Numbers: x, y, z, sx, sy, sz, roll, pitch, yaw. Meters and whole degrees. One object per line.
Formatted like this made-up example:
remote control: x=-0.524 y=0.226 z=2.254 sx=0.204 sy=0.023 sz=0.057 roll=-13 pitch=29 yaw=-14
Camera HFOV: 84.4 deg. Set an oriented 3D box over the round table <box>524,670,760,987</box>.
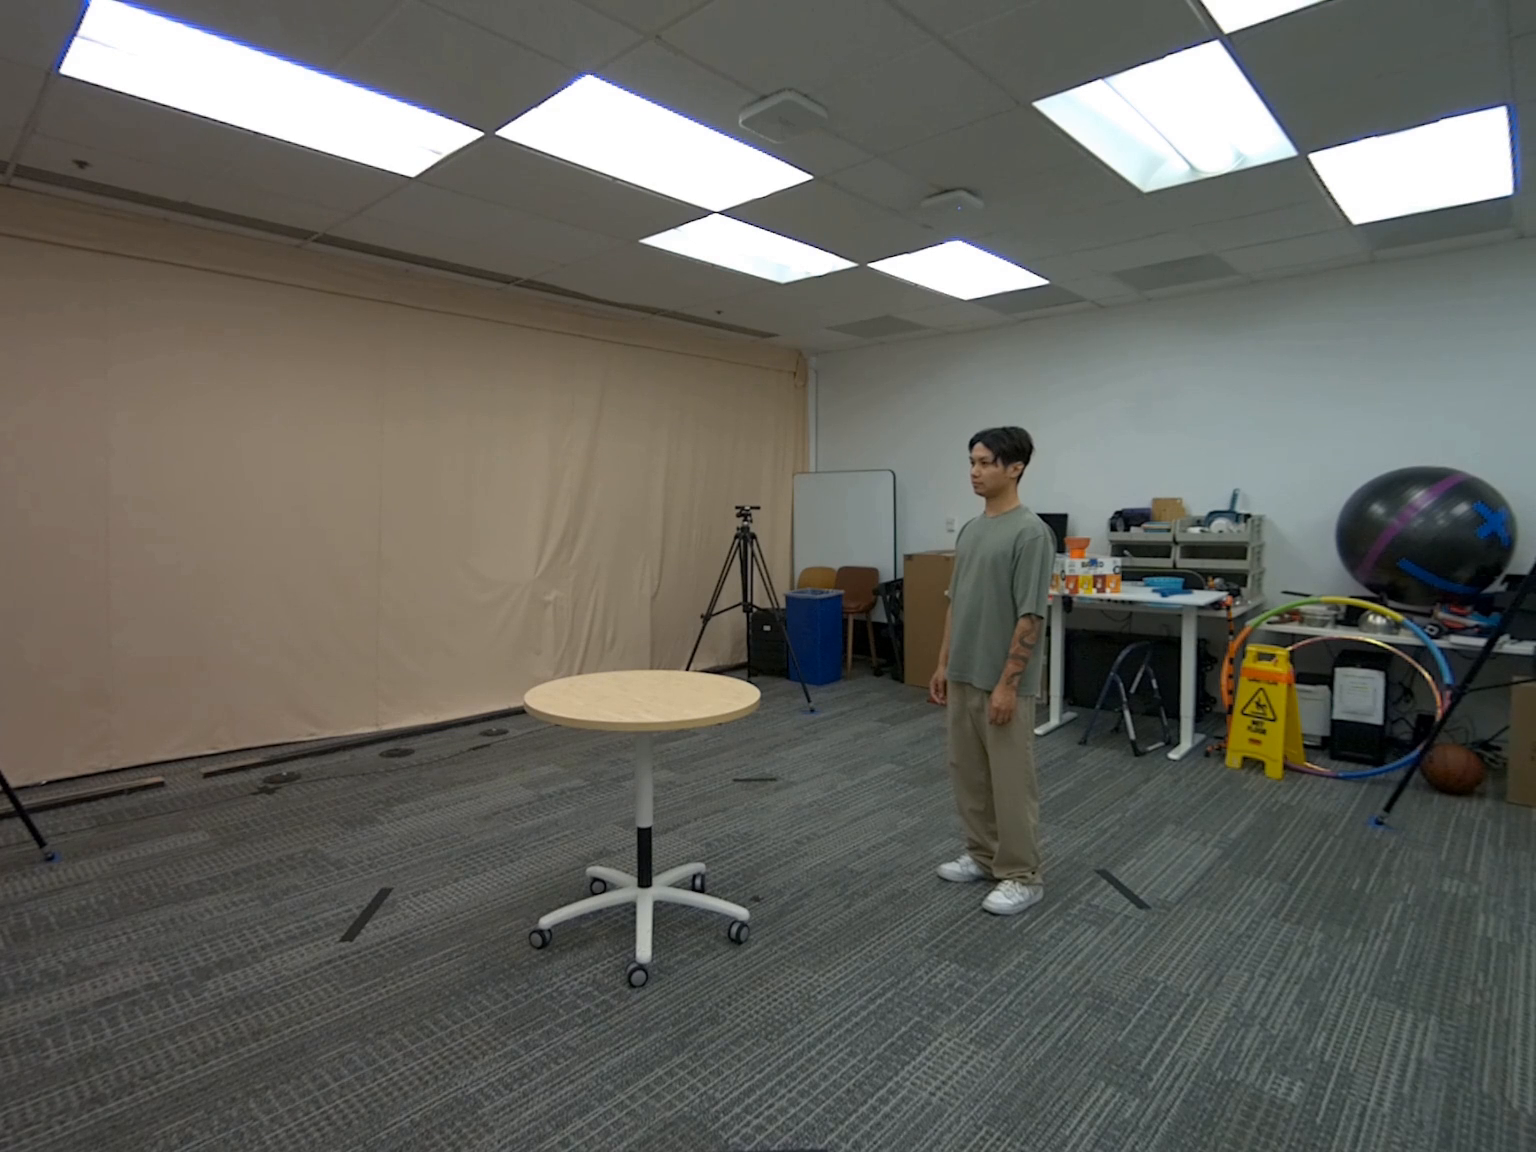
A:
round table: x=-0.420 y=0.776 z=2.771 sx=0.784 sy=0.785 sz=0.787 roll=1 pitch=3 yaw=-2
